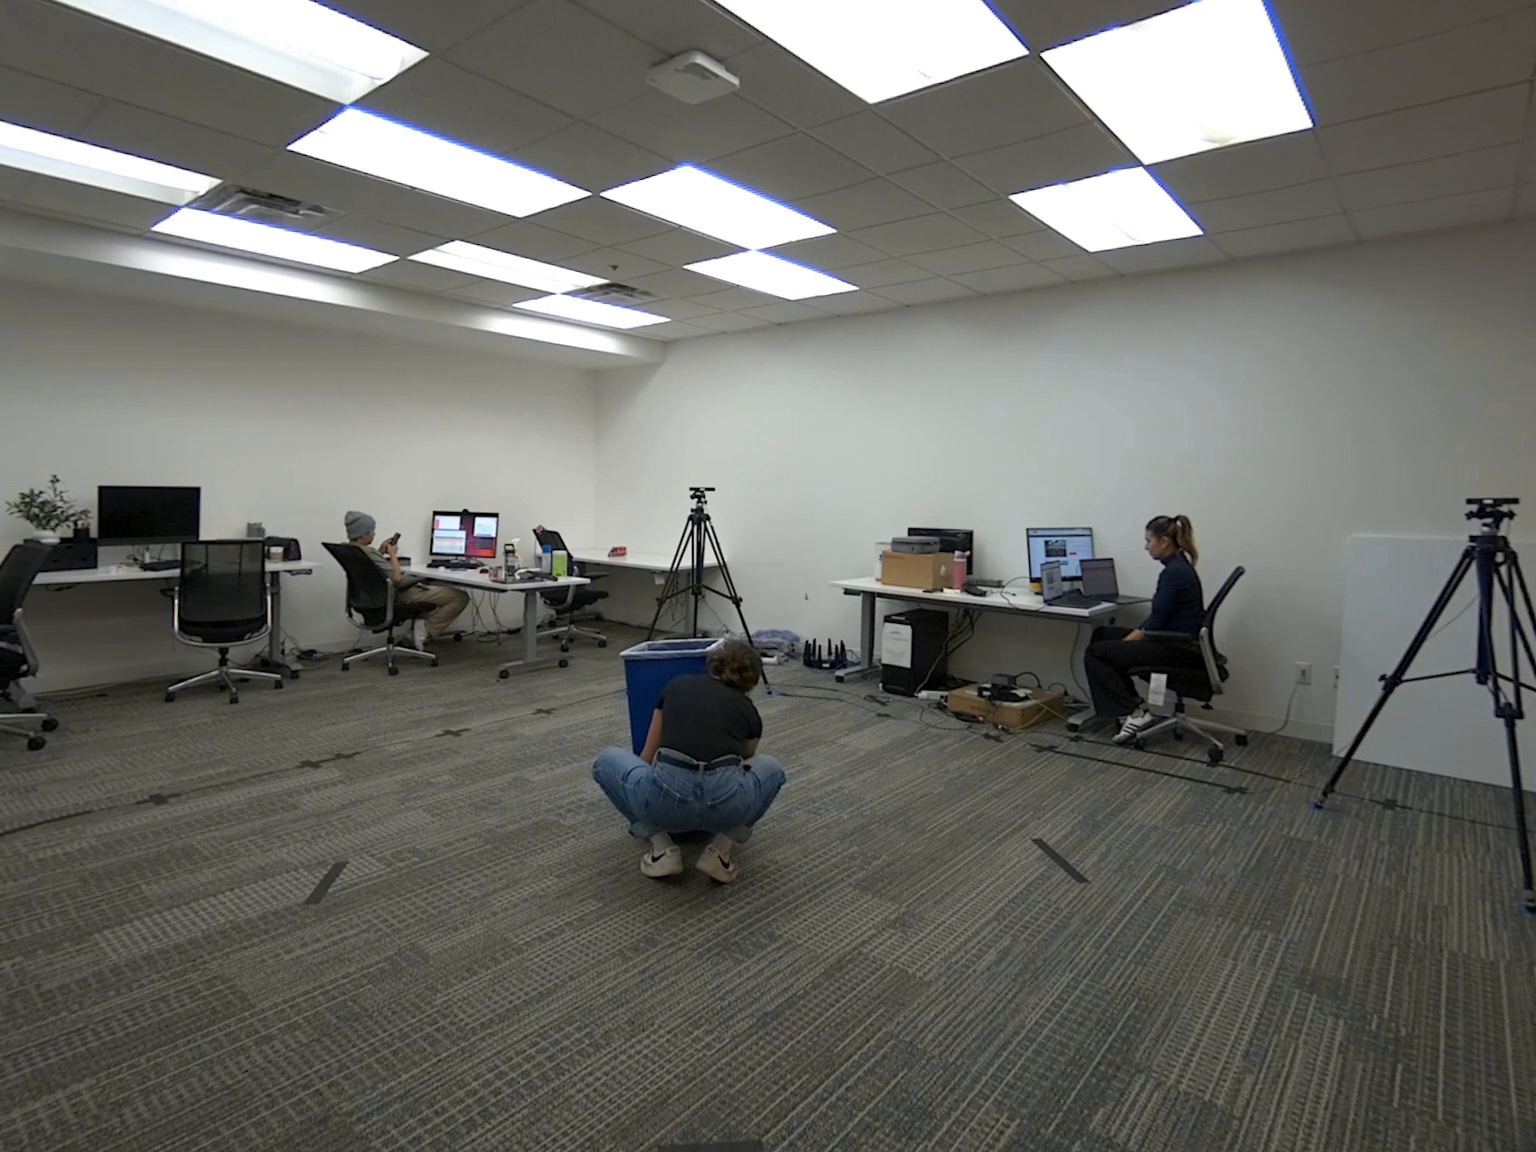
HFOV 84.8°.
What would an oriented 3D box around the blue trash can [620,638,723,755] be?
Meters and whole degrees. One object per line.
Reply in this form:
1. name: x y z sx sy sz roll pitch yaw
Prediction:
1. blue trash can: -0.377 0.633 3.468 0.378 0.713 0.374 -3 0 11
